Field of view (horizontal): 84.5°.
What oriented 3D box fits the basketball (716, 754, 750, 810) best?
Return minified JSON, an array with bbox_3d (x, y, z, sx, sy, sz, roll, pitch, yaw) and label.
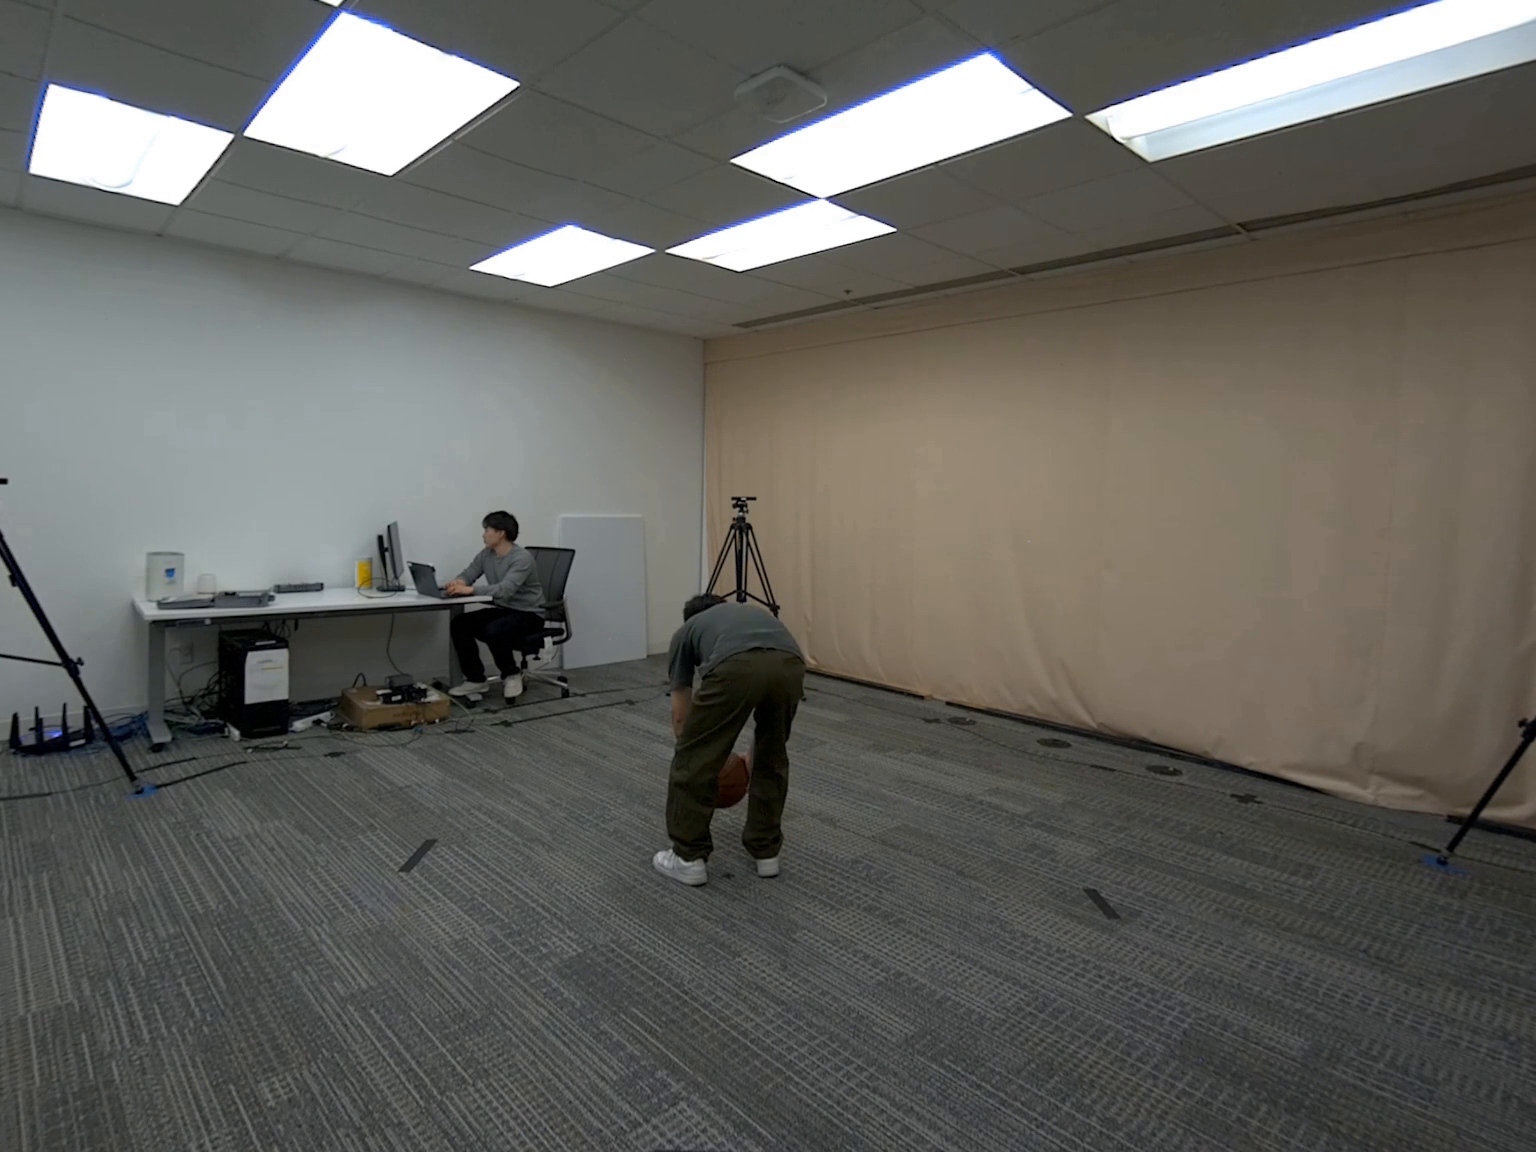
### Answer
[{"bbox_3d":[-0.207,0.837,3.494,0.236,0.235,0.237,1,4,-1],"label":"basketball"}]
